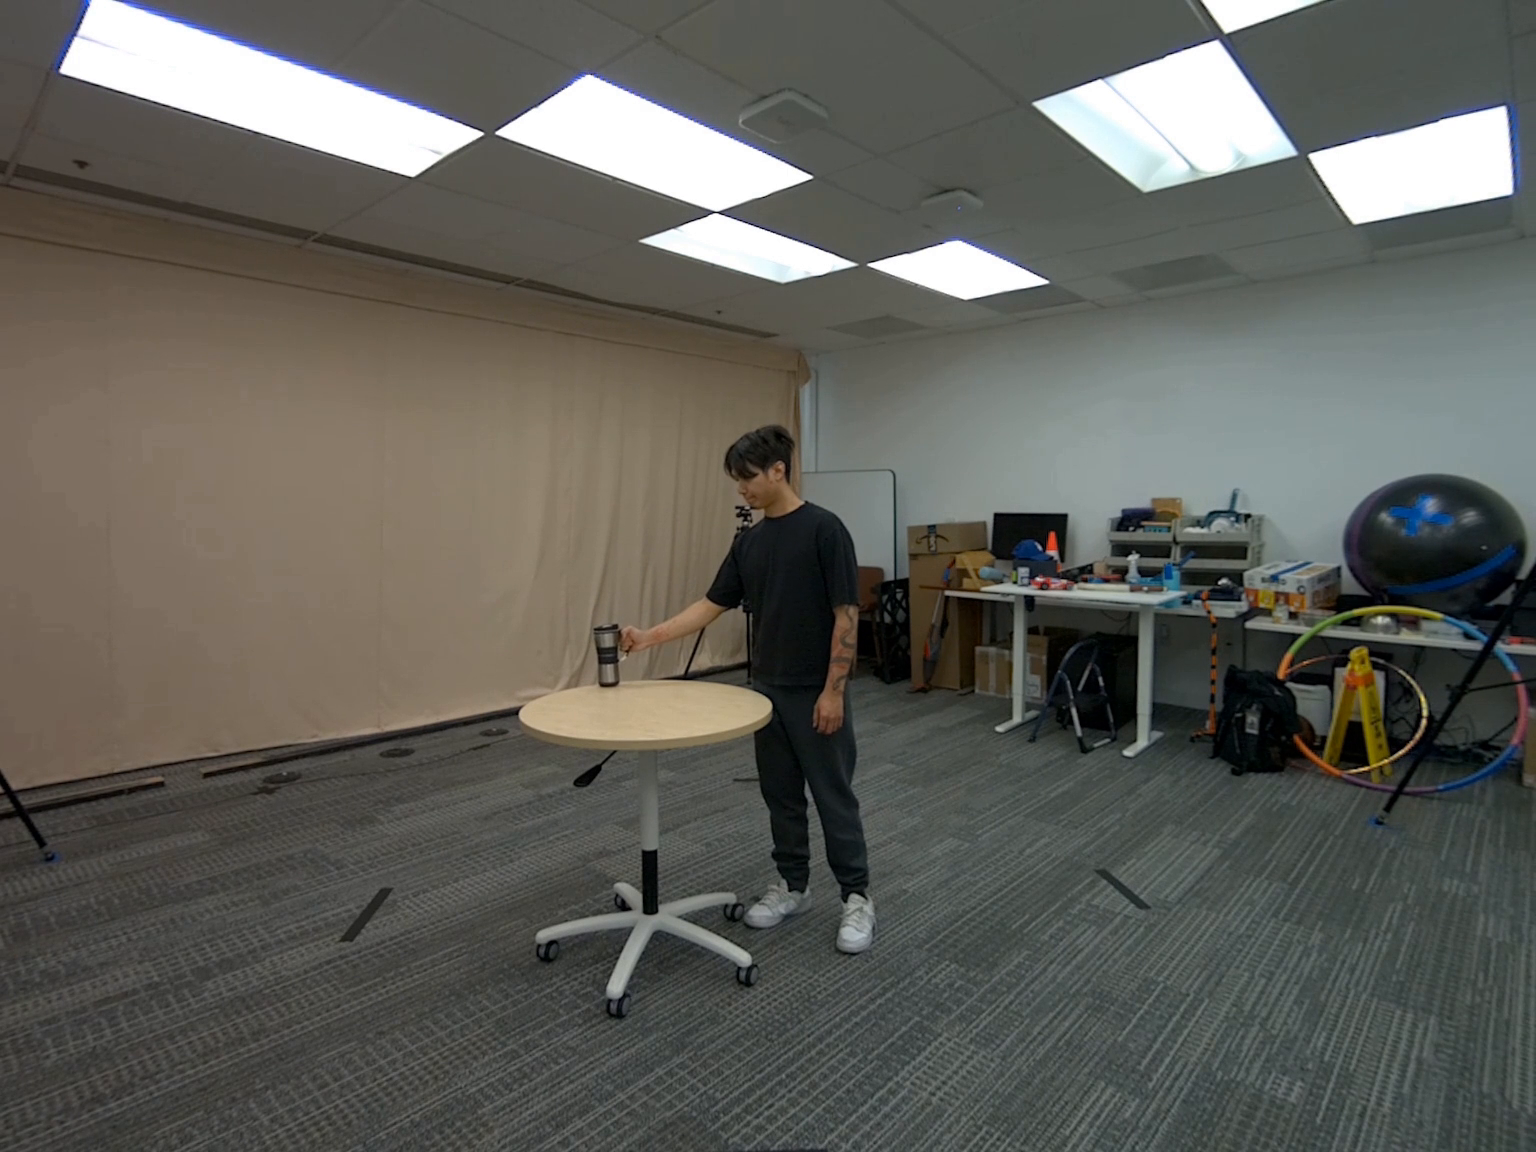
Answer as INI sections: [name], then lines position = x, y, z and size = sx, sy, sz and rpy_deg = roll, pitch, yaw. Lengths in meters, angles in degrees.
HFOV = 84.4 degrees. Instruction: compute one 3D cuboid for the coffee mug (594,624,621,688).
[coffee mug]
position = -0.533, 0.272, 2.863
size = 0.126, 0.203, 0.085
rpy_deg = -4, -1, 38
